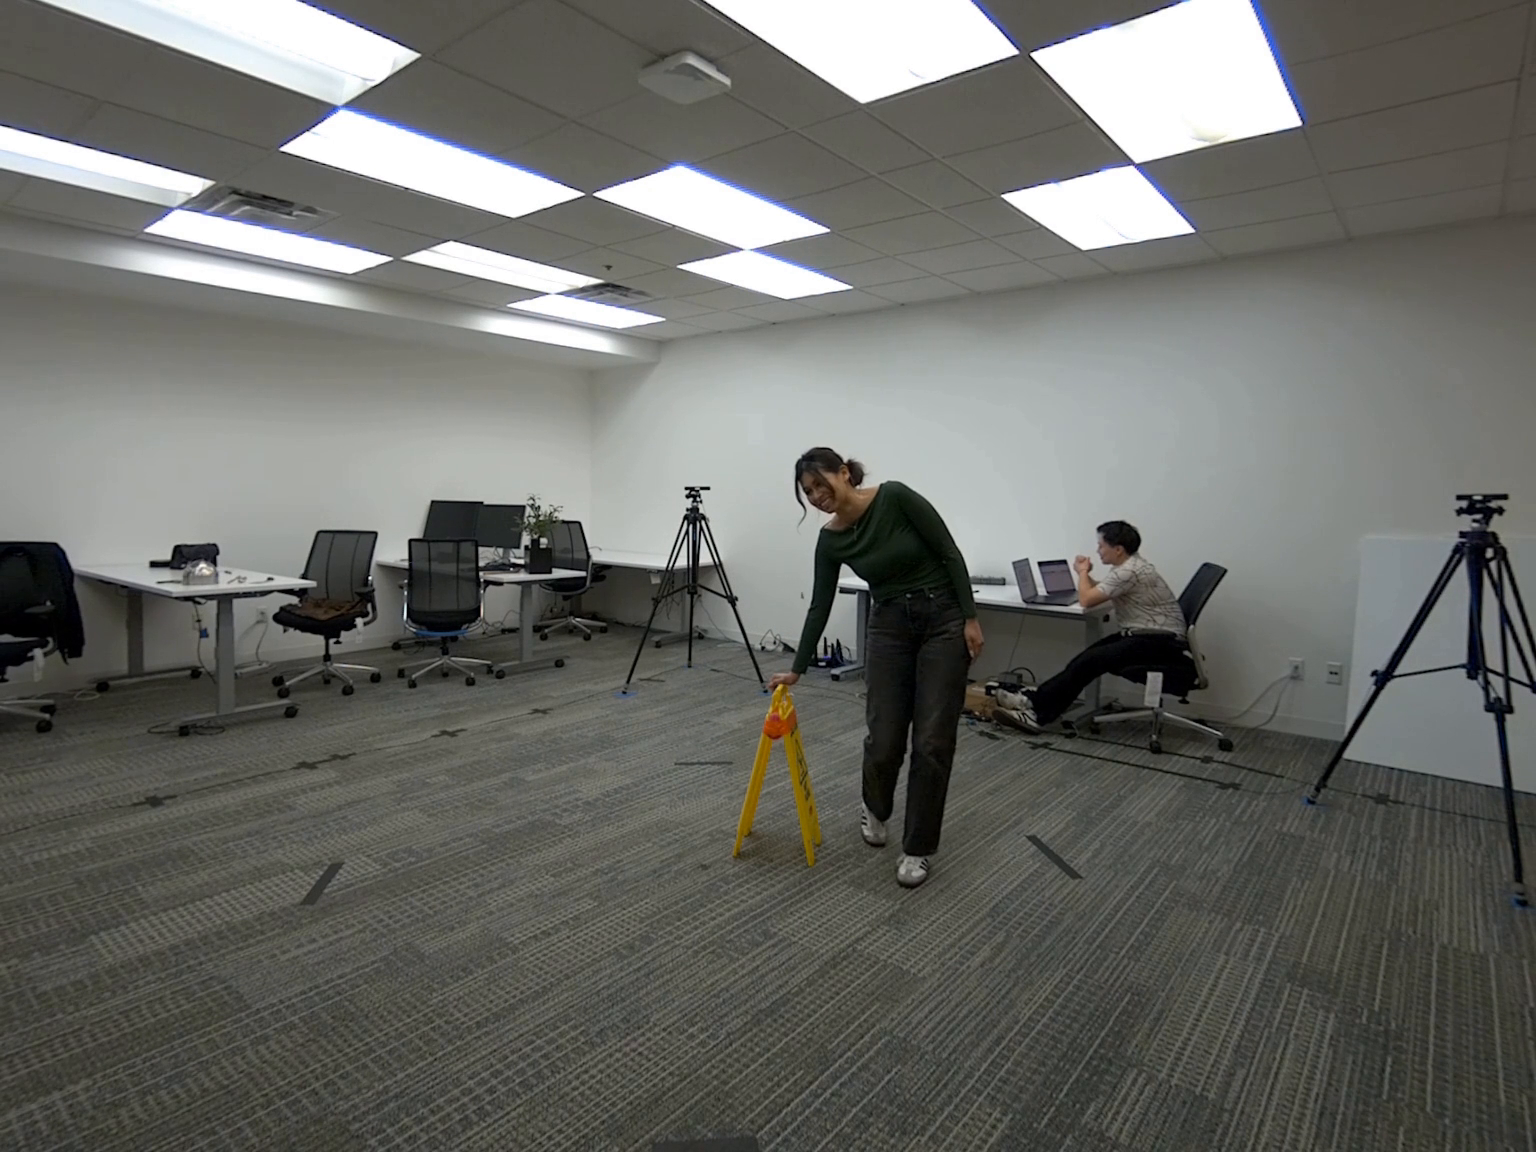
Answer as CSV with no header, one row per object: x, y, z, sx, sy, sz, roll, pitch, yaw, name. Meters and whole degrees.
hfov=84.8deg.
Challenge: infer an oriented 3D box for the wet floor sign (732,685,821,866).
0.033,0.729,3.286,0.294,0.645,0.278,1,2,13,wet floor sign
